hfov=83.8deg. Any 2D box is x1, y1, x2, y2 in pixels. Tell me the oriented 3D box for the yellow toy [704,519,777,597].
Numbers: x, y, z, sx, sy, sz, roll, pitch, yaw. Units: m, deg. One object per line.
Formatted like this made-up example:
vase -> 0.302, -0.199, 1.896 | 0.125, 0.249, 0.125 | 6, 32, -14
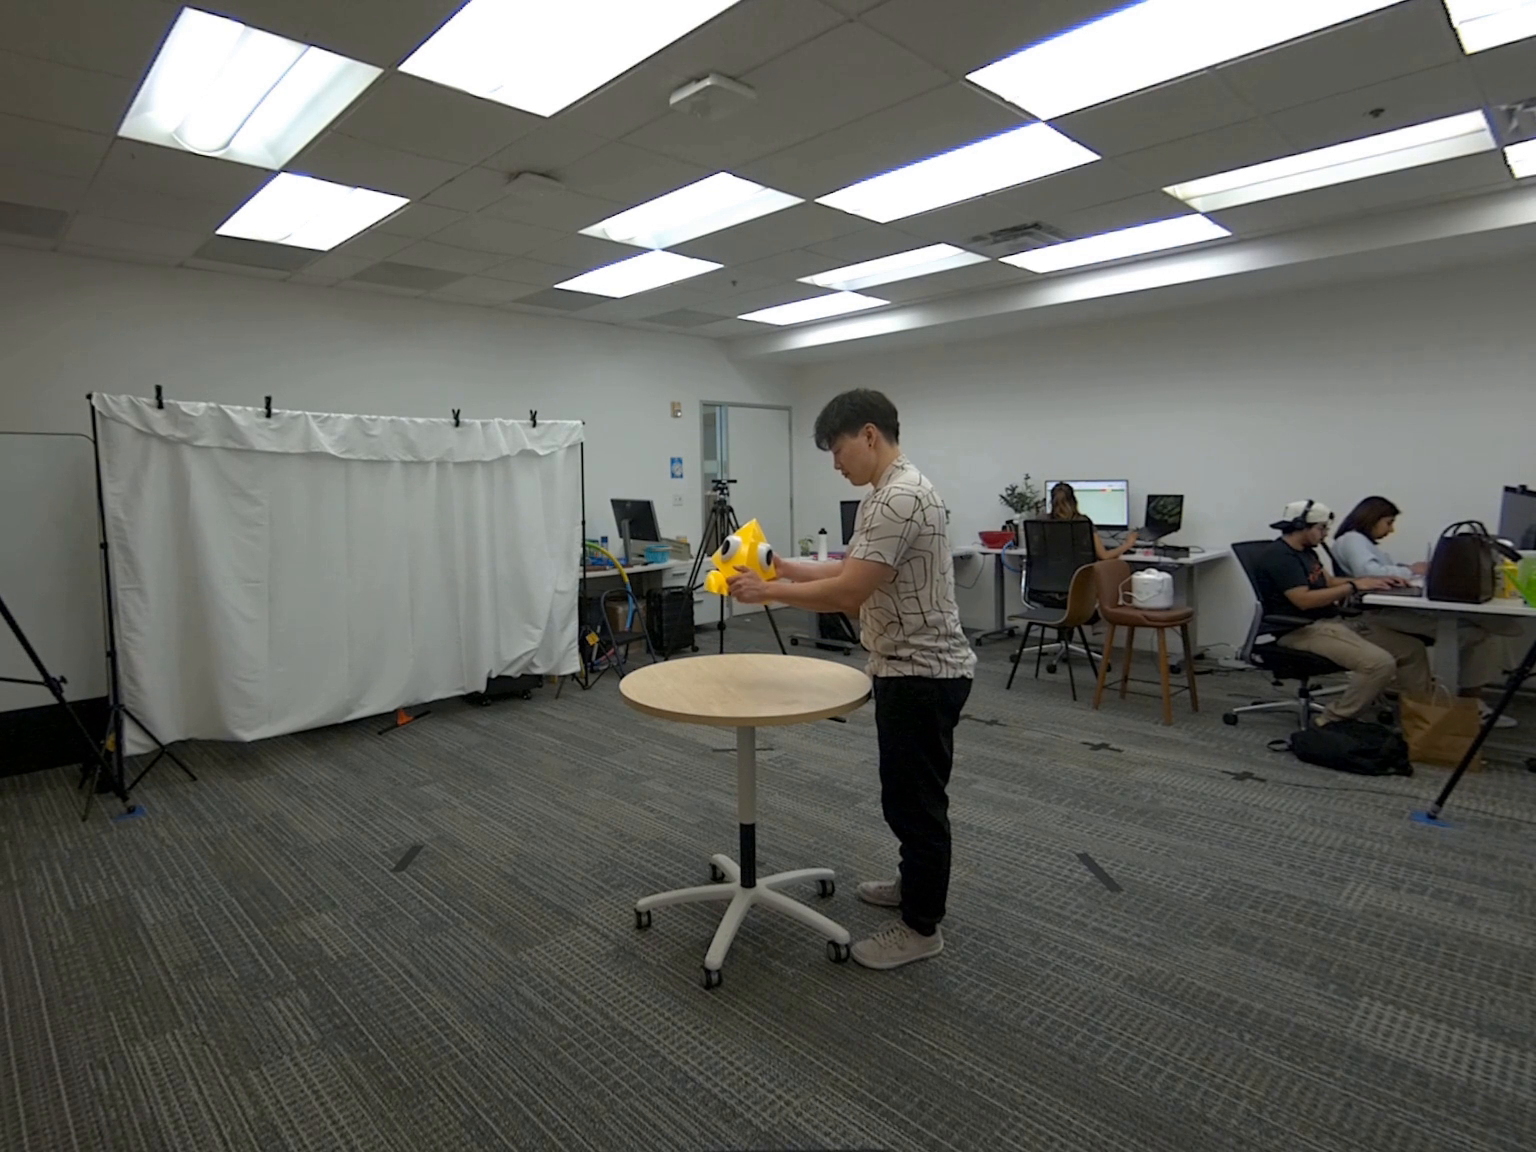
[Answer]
yellow toy -> -0.058, -0.051, 2.466 | 0.205, 0.231, 0.193 | 14, 0, -1
